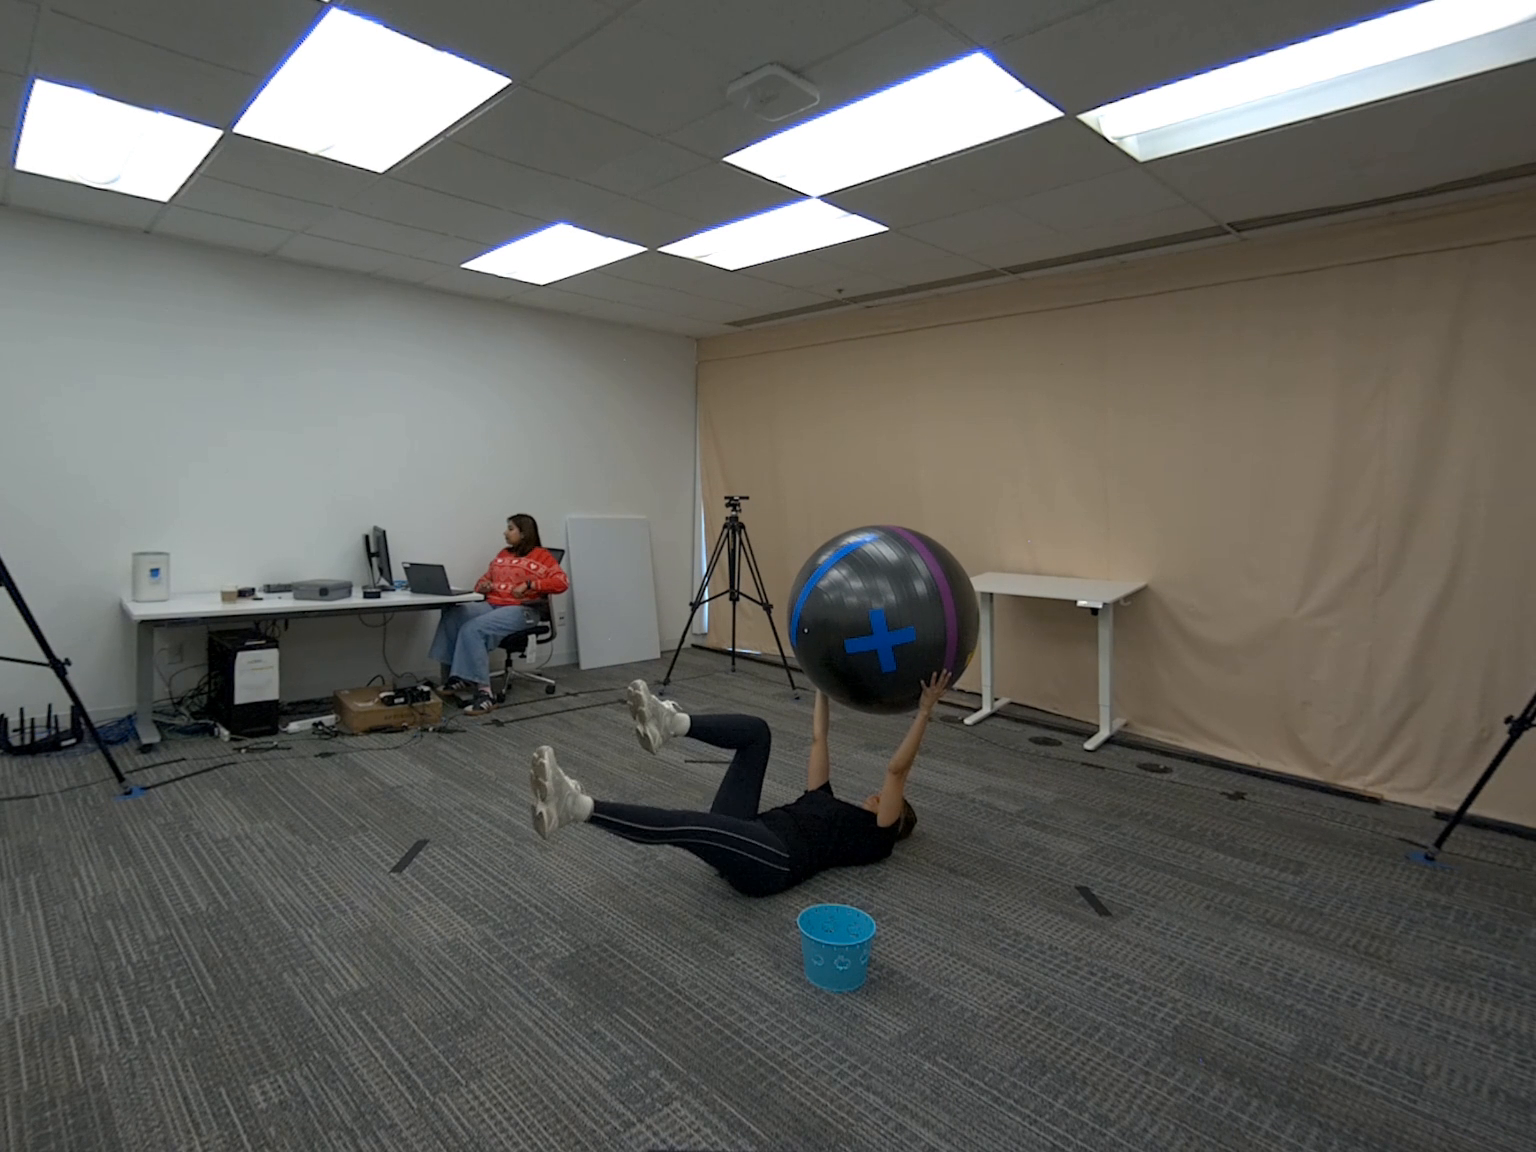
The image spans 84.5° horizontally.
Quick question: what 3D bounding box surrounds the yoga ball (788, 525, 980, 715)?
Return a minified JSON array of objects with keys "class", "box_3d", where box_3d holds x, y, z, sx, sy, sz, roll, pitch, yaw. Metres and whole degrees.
[{"class":"yoga ball","box_3d":[0.451,0.174,3.377,0.757,0.754,0.762,0,7,-1]}]
